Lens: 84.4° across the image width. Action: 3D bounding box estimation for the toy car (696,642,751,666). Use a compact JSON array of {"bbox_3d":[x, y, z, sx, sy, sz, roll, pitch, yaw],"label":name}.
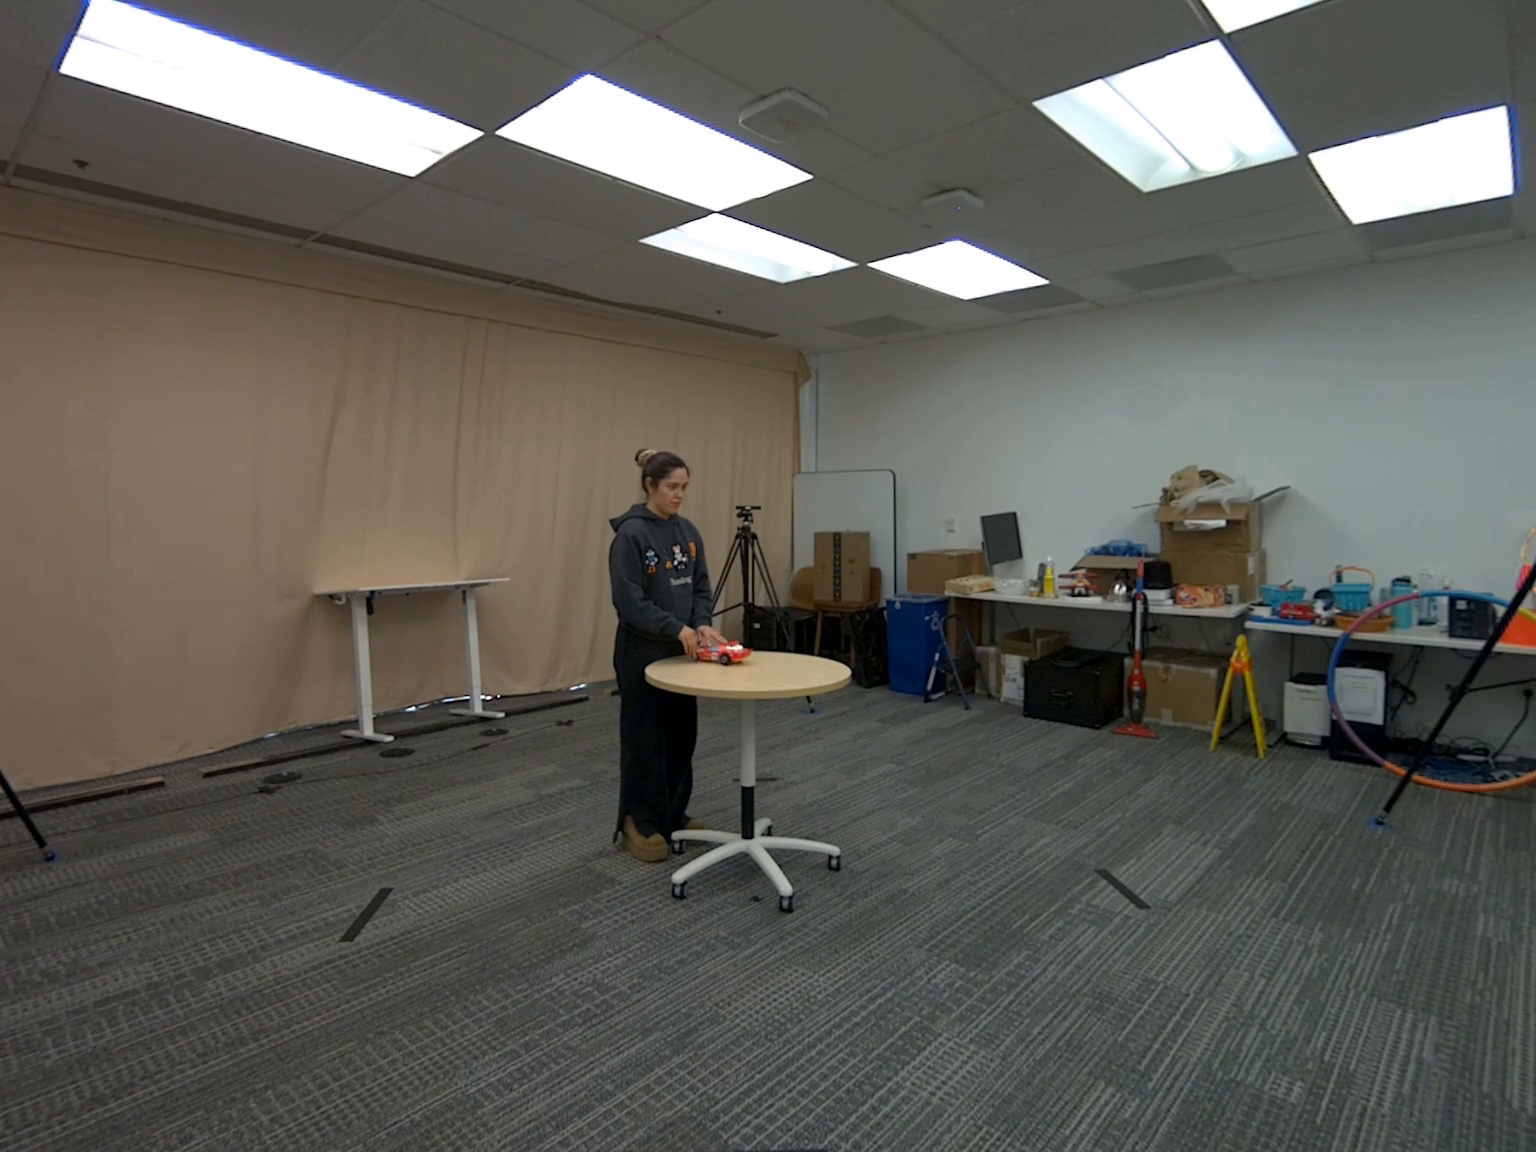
[{"bbox_3d":[-0.162,0.305,3.282,0.260,0.083,0.127,-12,-3,29],"label":"toy car"}]
